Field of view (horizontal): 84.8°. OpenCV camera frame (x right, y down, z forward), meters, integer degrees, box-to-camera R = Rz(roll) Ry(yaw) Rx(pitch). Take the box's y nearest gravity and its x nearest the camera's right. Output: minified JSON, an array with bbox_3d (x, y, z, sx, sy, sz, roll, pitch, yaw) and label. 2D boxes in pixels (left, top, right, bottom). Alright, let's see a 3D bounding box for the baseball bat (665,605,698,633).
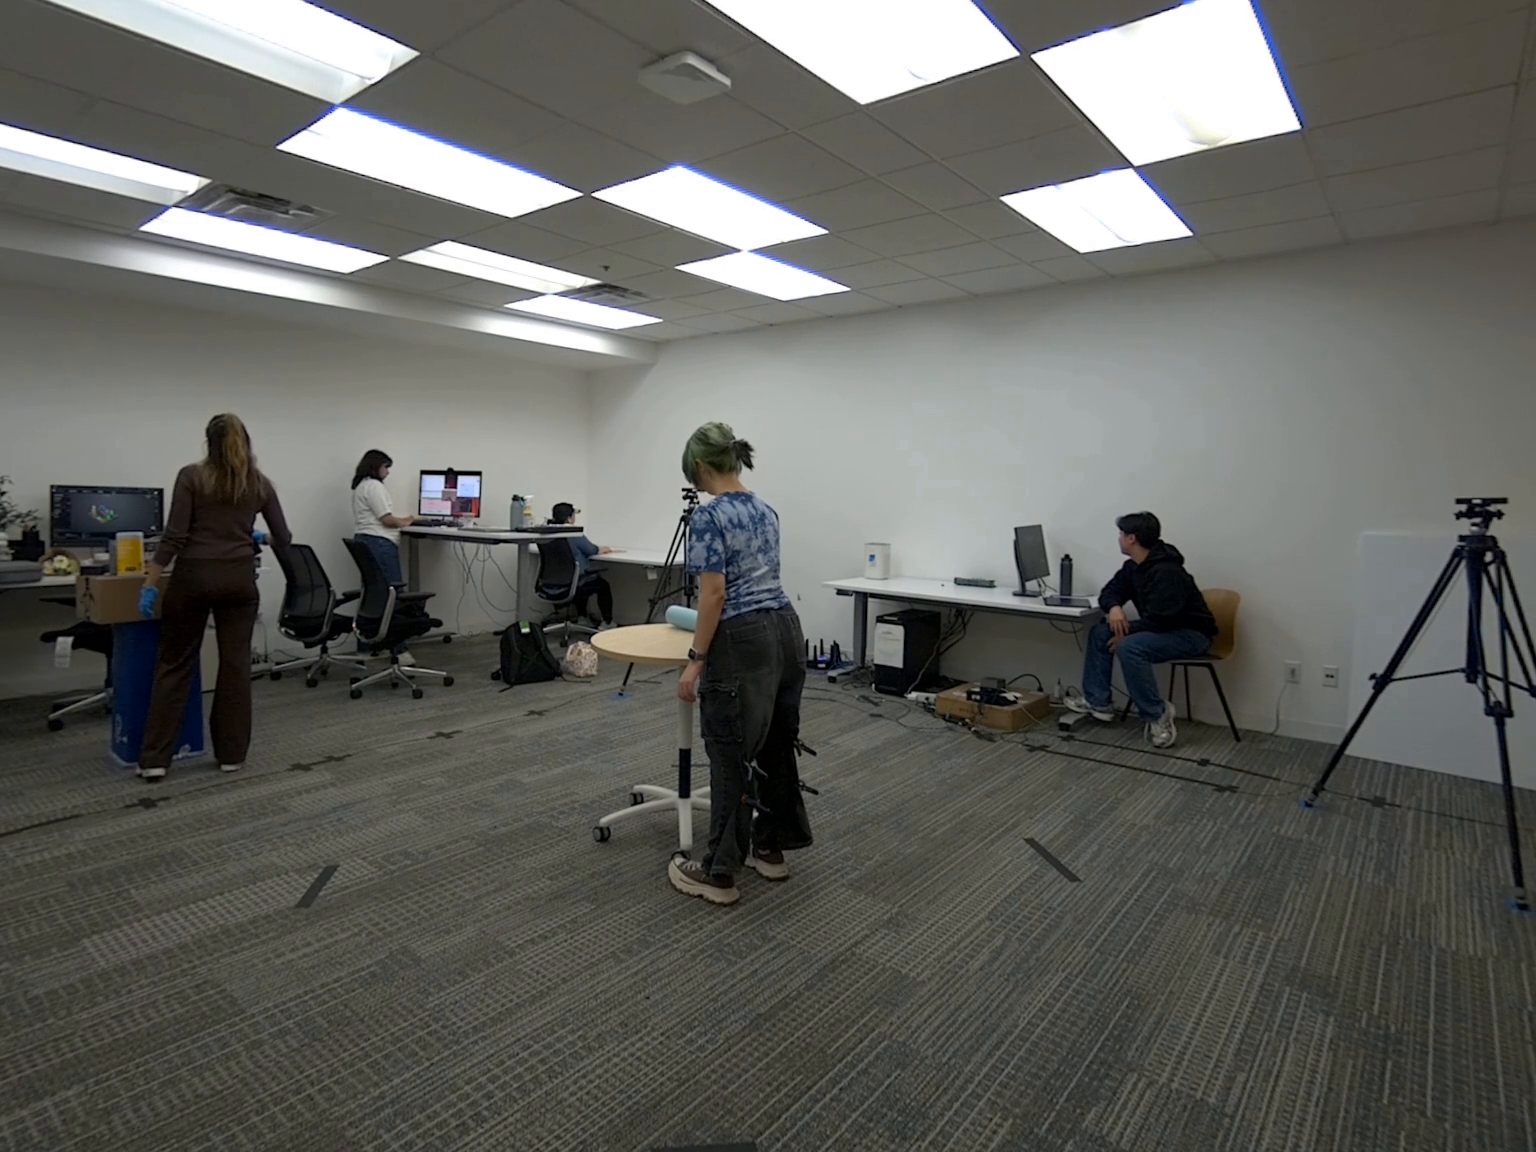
[{"bbox_3d":[-0.239,0.209,3.532,0.086,0.088,0.563,-3,11,-43],"label":"baseball bat"}]
